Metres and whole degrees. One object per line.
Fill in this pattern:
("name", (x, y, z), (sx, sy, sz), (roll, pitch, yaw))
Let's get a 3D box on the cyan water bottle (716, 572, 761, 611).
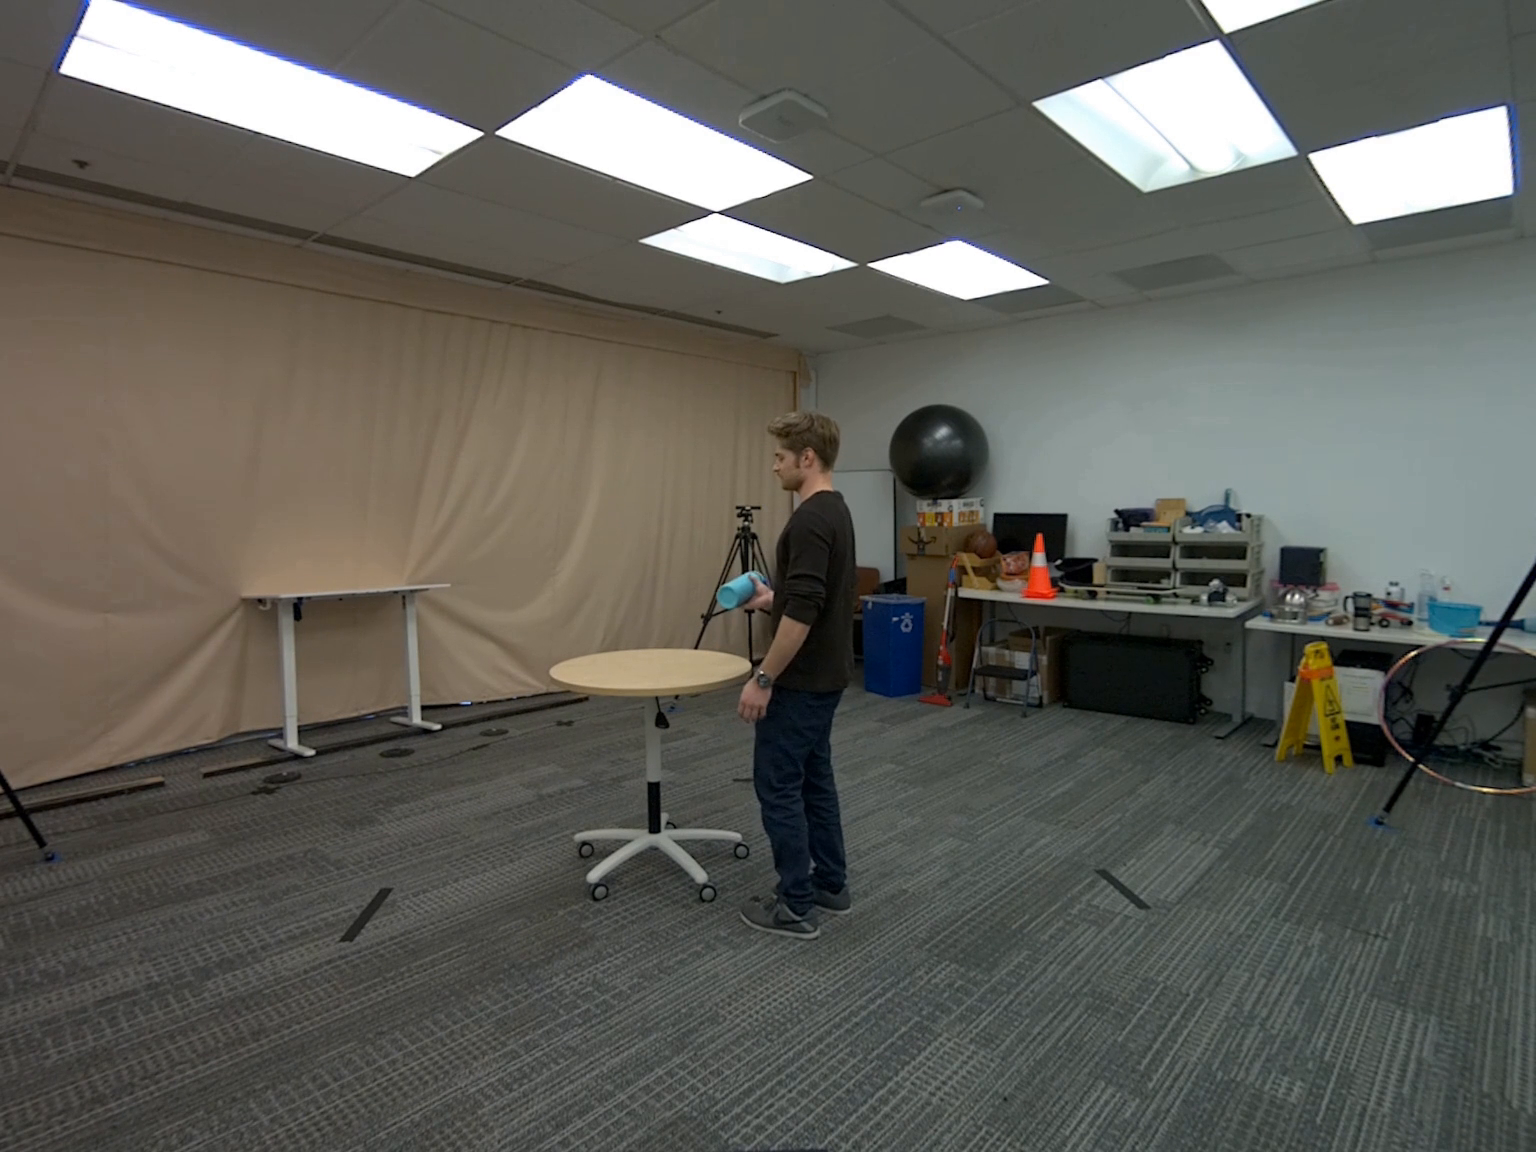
("cyan water bottle", (-0.088, 0.047, 3.145), (0.094, 0.091, 0.279), (1, 13, 23))
